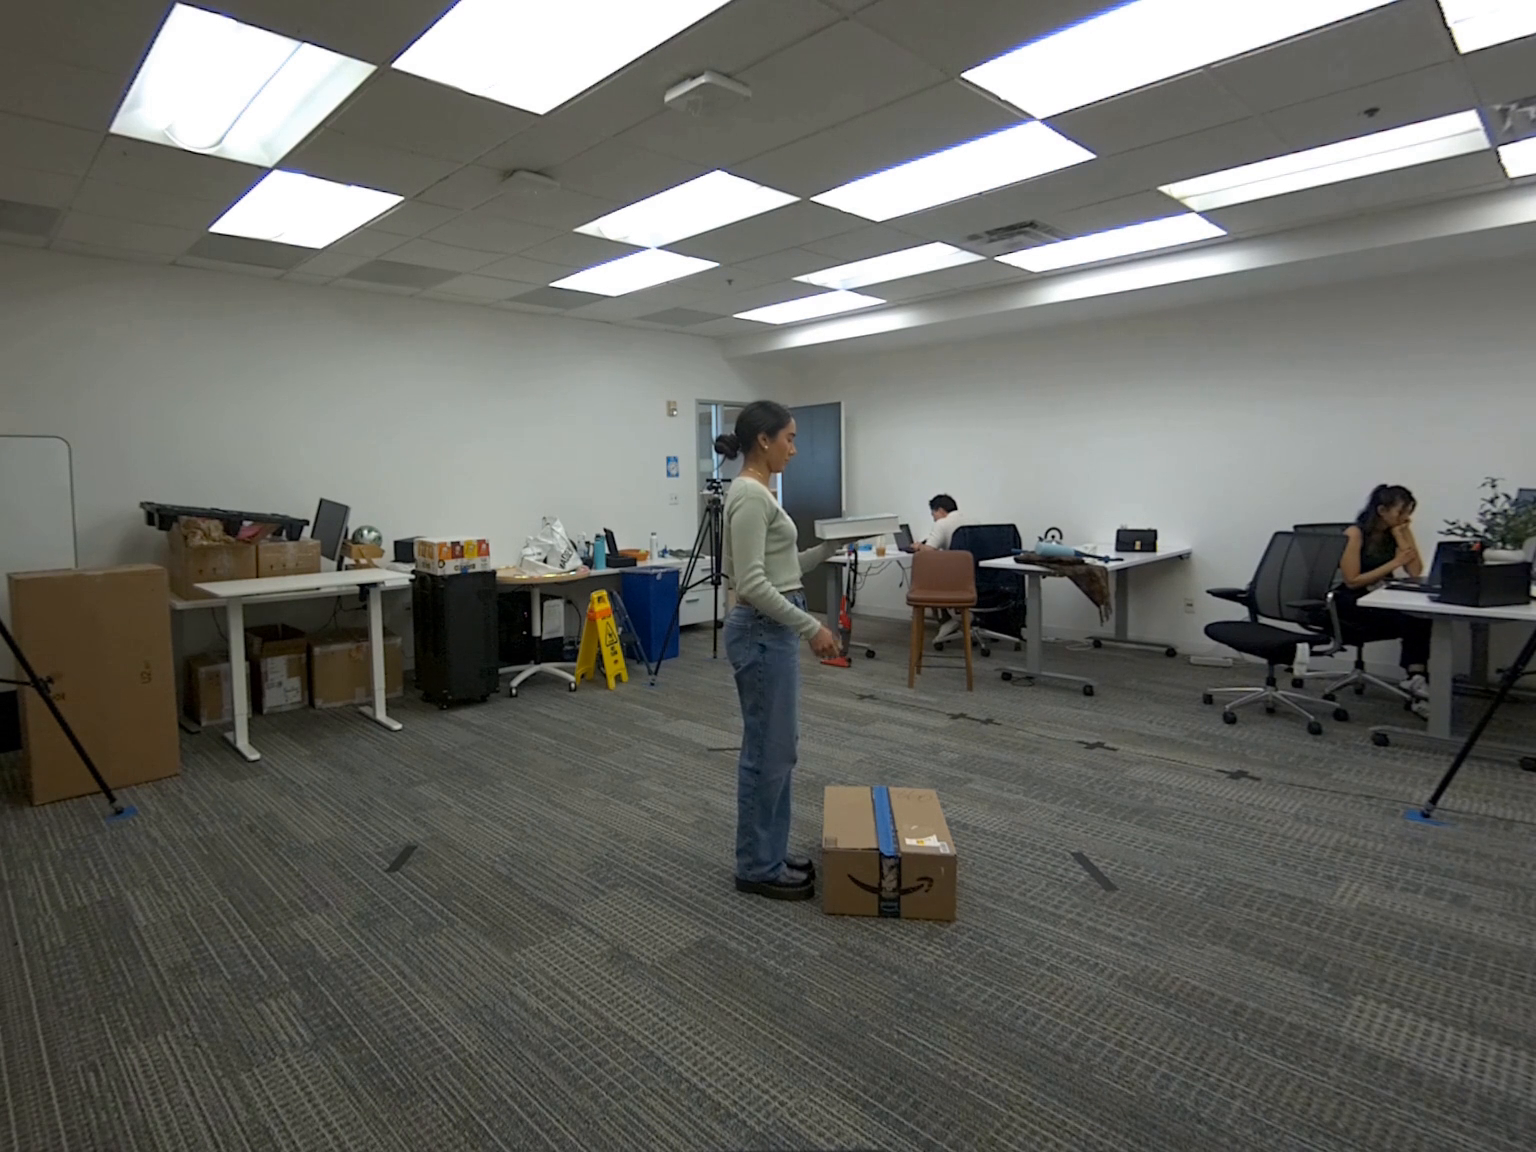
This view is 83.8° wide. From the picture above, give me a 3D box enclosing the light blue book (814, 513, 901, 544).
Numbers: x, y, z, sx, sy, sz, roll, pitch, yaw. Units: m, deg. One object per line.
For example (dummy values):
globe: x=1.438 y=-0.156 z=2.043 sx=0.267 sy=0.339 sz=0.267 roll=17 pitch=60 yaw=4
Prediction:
light blue book: x=0.306 y=-0.168 z=2.956 sx=0.260 sy=0.059 sz=0.193 roll=-6 pitch=6 yaw=-2
